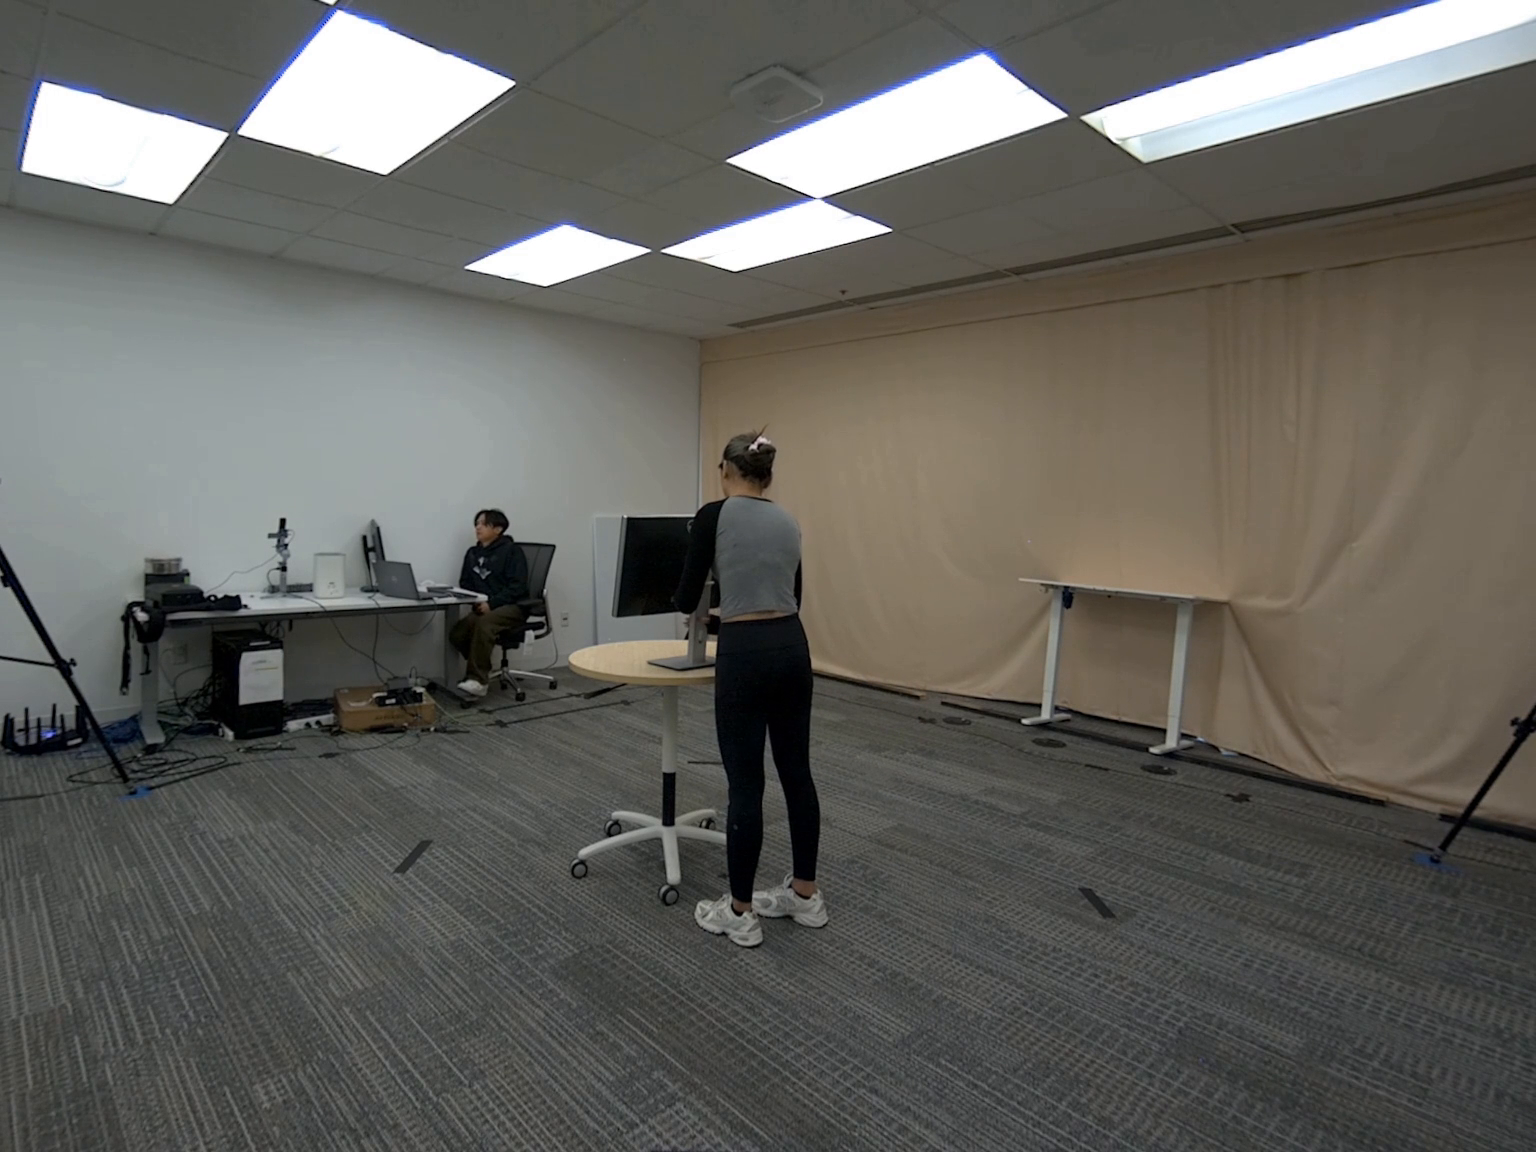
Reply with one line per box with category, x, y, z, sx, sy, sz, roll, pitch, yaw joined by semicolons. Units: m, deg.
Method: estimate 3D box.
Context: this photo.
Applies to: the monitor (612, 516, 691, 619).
monitor;-0.288;0.055;3.041;0.527;0.522;0.192;-3;3;-44
